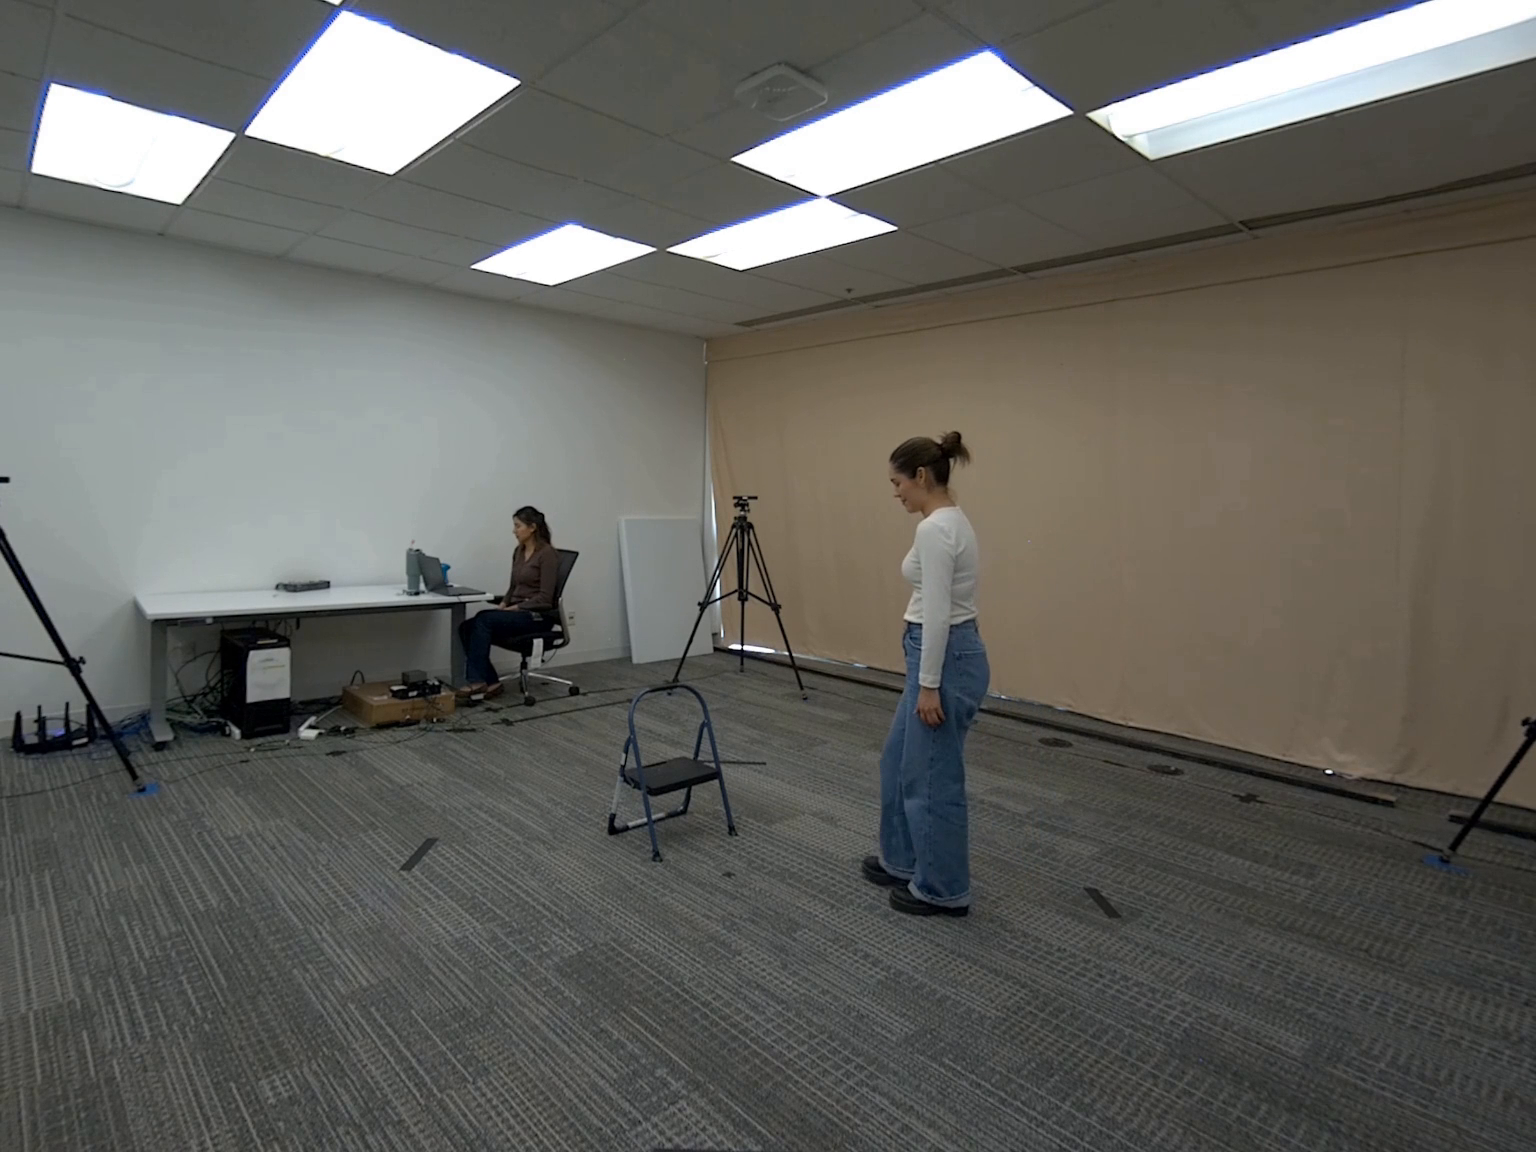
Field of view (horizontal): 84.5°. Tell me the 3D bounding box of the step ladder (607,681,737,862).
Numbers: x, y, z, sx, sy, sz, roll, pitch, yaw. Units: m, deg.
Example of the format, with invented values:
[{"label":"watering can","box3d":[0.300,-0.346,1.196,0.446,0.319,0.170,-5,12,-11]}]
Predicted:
[{"label":"step ladder","box3d":[-0.390,0.764,3.448,0.420,0.605,0.358,-1,5,-45]}]
